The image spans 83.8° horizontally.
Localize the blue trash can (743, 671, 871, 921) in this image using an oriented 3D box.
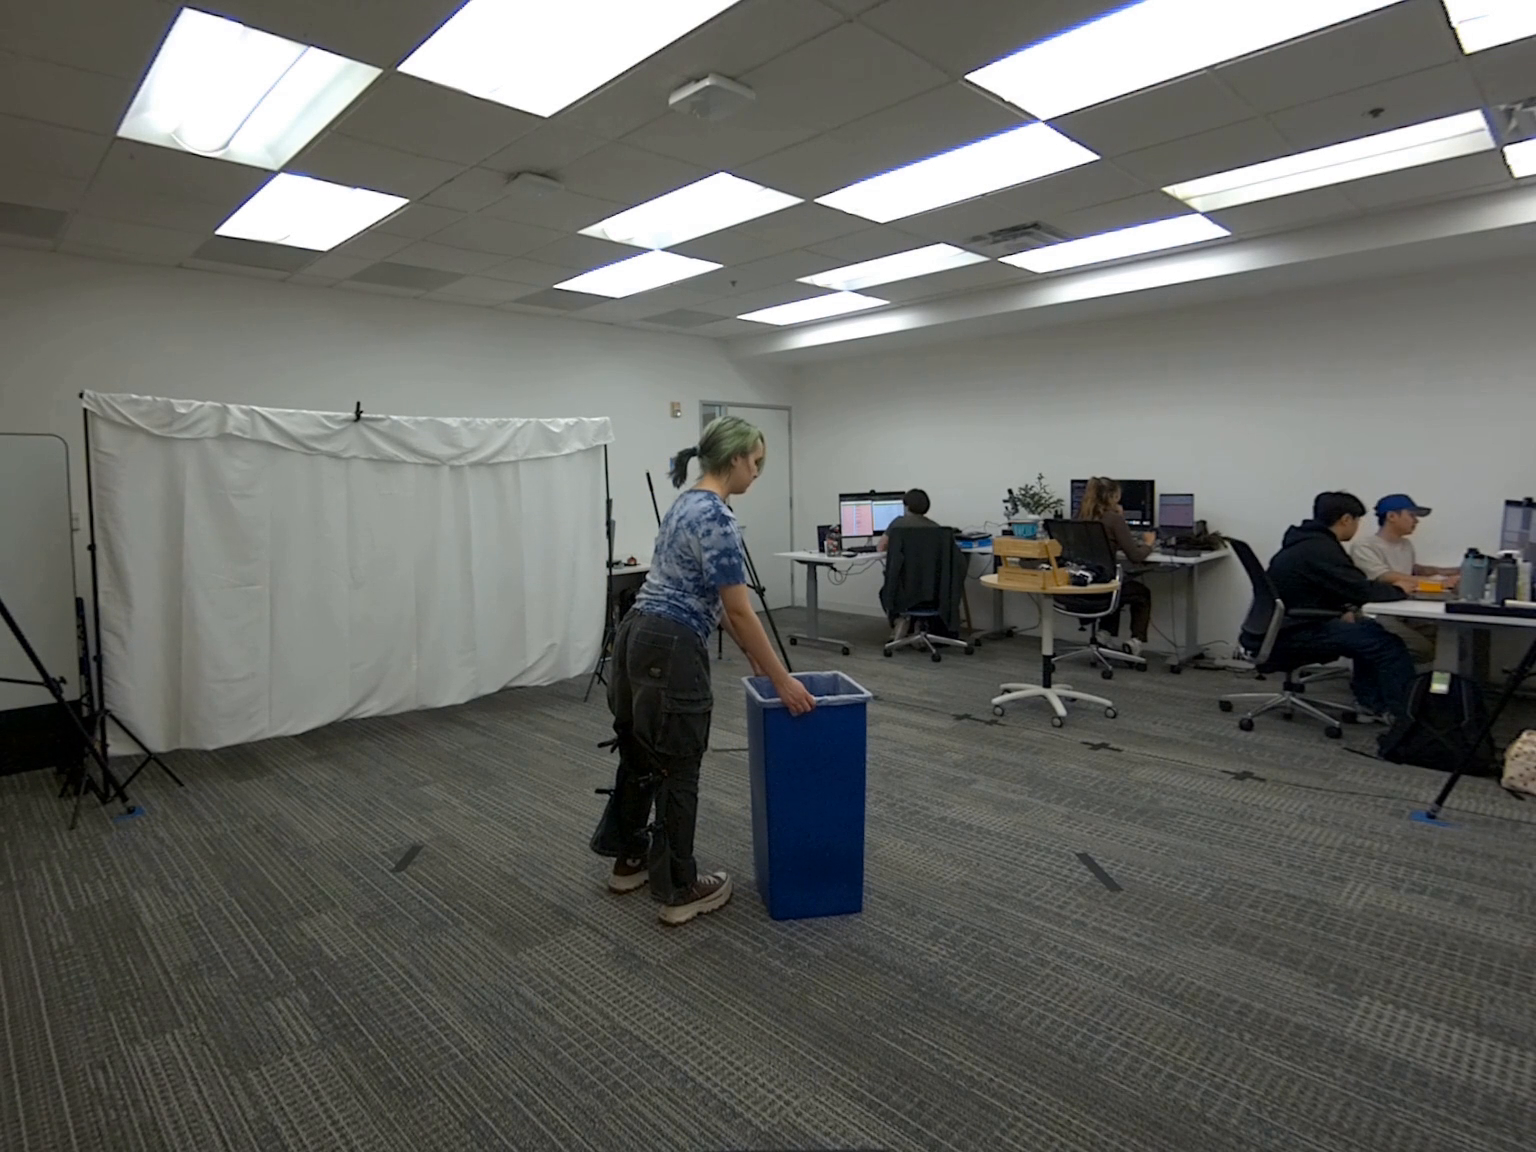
[{"bbox_3d":[0.121,0.712,2.855,0.374,0.711,0.379,-2,4,-11],"label":"blue trash can"}]
